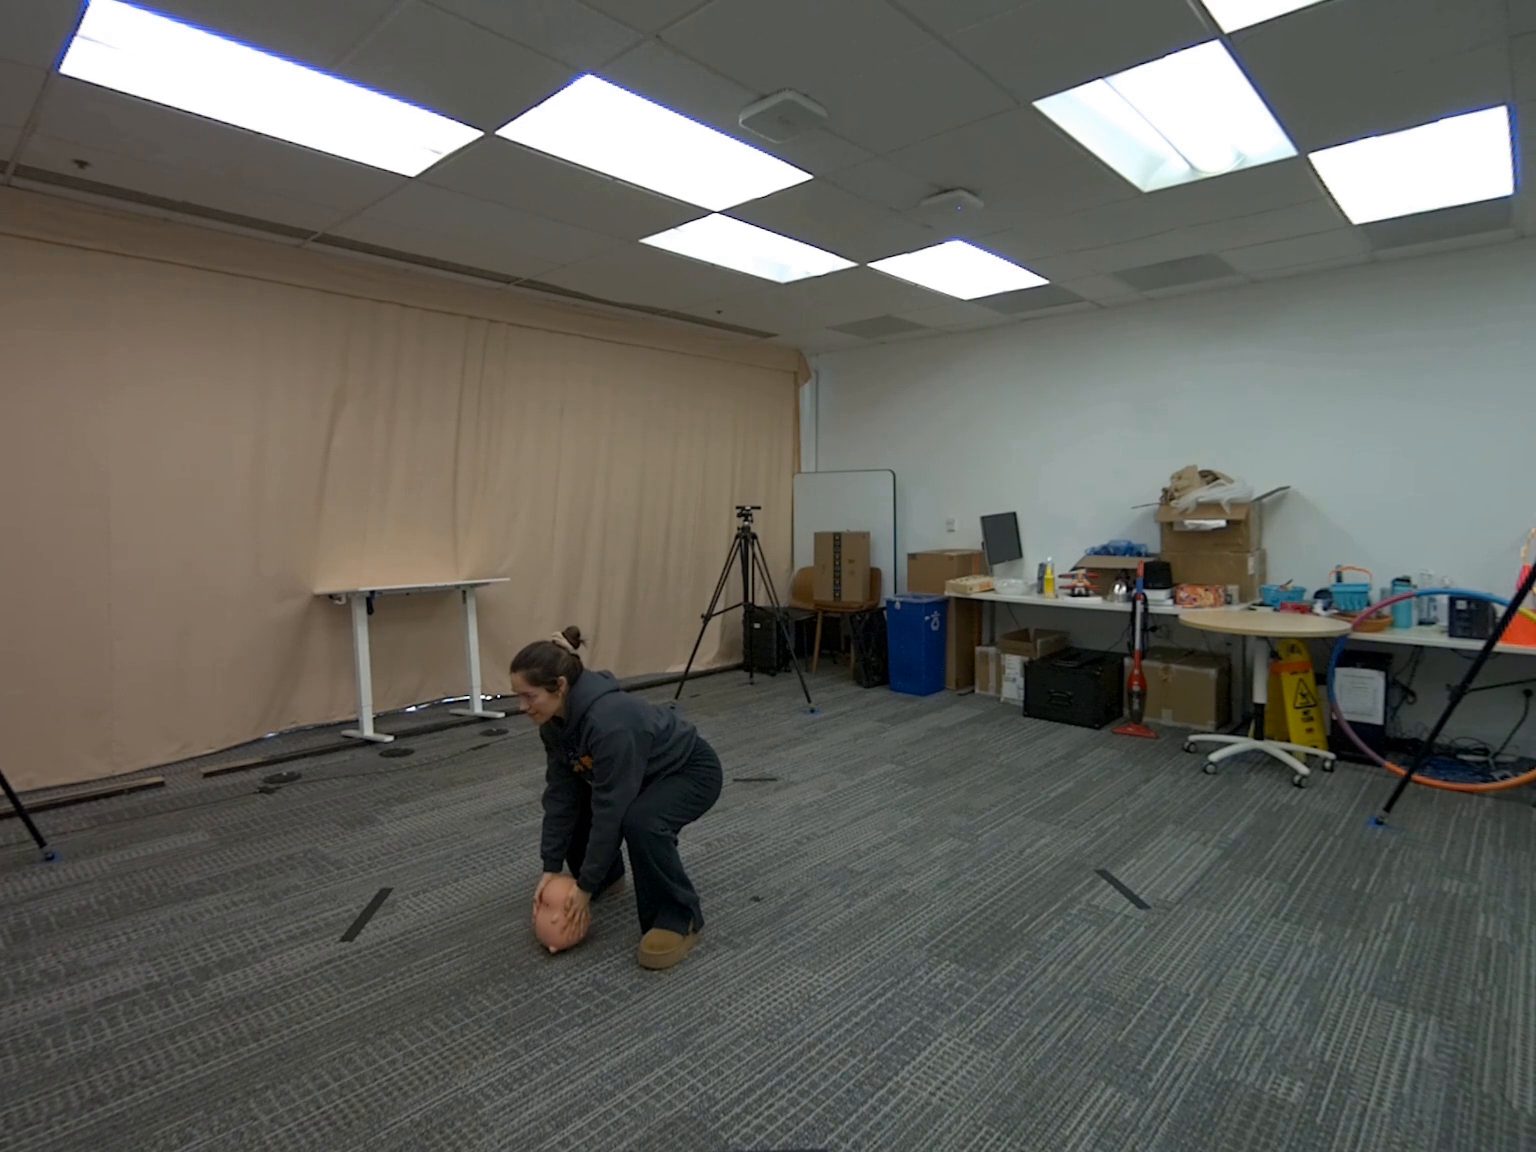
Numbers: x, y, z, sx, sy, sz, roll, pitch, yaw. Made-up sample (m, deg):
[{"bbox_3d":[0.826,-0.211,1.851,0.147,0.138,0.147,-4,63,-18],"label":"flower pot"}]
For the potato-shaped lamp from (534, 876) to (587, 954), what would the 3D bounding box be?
[{"bbox_3d":[-0.647,1.058,2.673,0.167,0.198,0.169,-8,4,-33],"label":"potato-shaped lamp"}]
